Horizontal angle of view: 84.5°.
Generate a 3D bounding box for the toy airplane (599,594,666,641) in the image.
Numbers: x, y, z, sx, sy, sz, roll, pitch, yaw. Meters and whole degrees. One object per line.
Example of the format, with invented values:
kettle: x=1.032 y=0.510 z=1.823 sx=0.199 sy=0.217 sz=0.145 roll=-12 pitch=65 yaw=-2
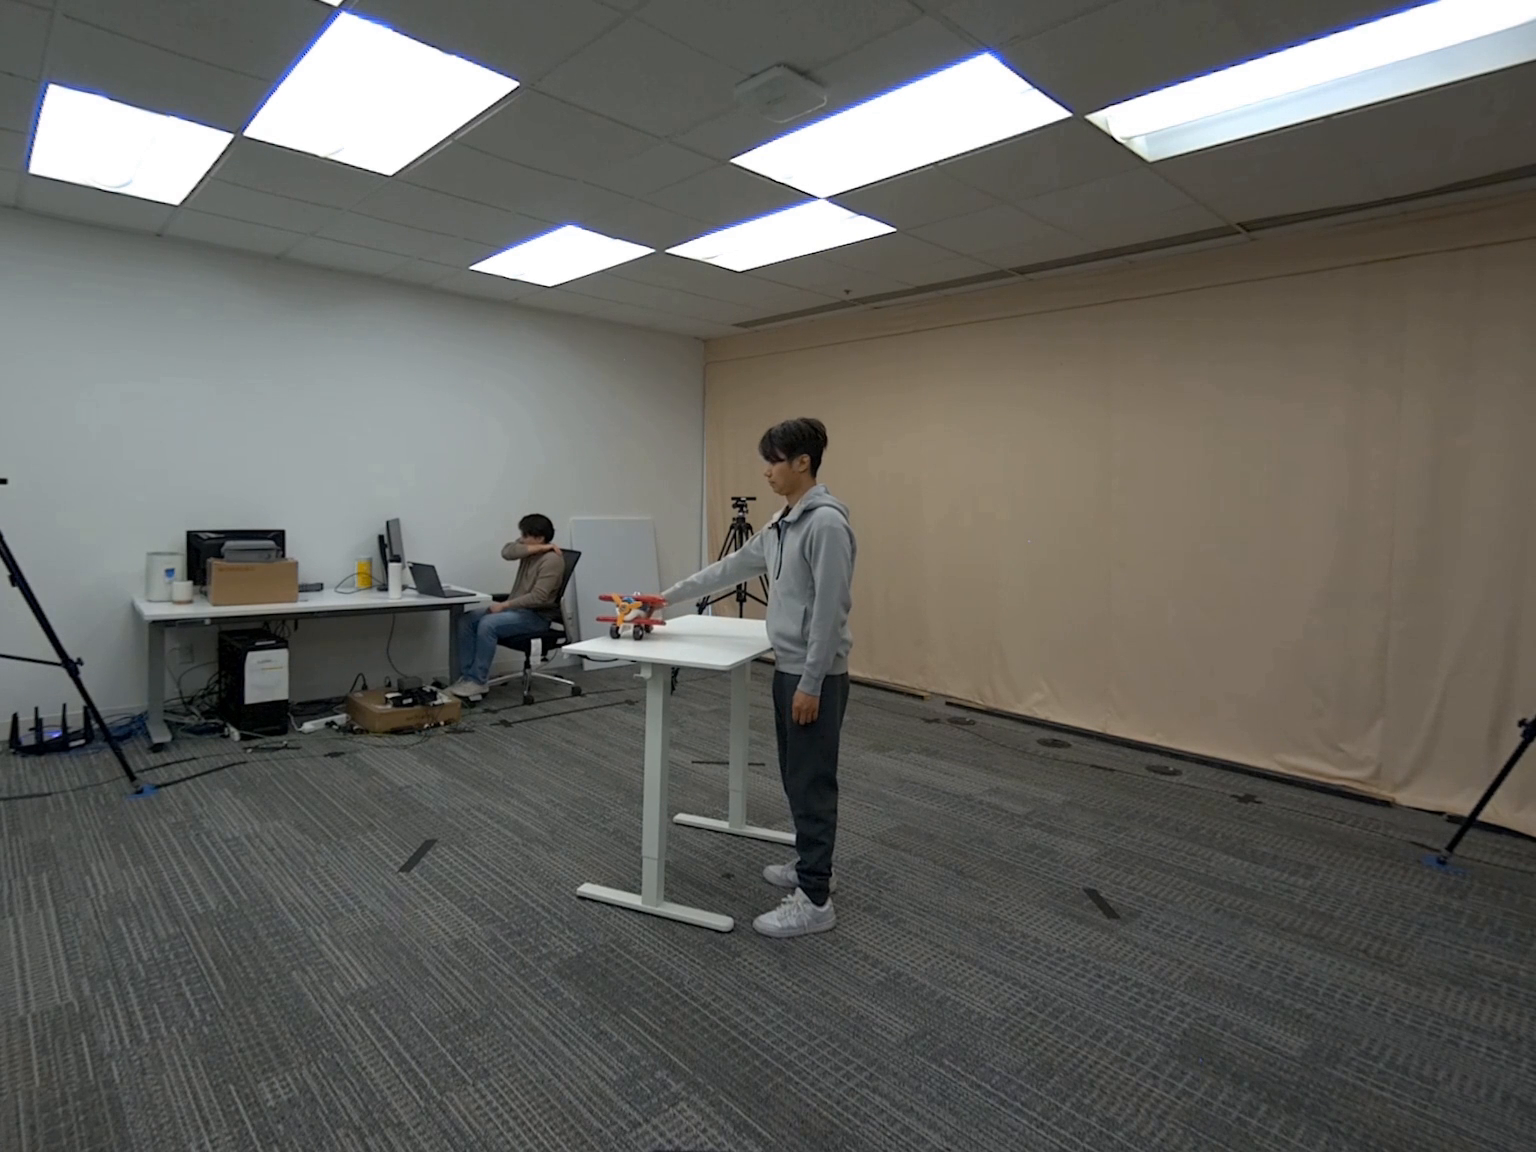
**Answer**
toy airplane: x=-0.507 y=0.143 z=3.059 sx=0.248 sy=0.156 sz=0.263 roll=2 pitch=3 yaw=-17
